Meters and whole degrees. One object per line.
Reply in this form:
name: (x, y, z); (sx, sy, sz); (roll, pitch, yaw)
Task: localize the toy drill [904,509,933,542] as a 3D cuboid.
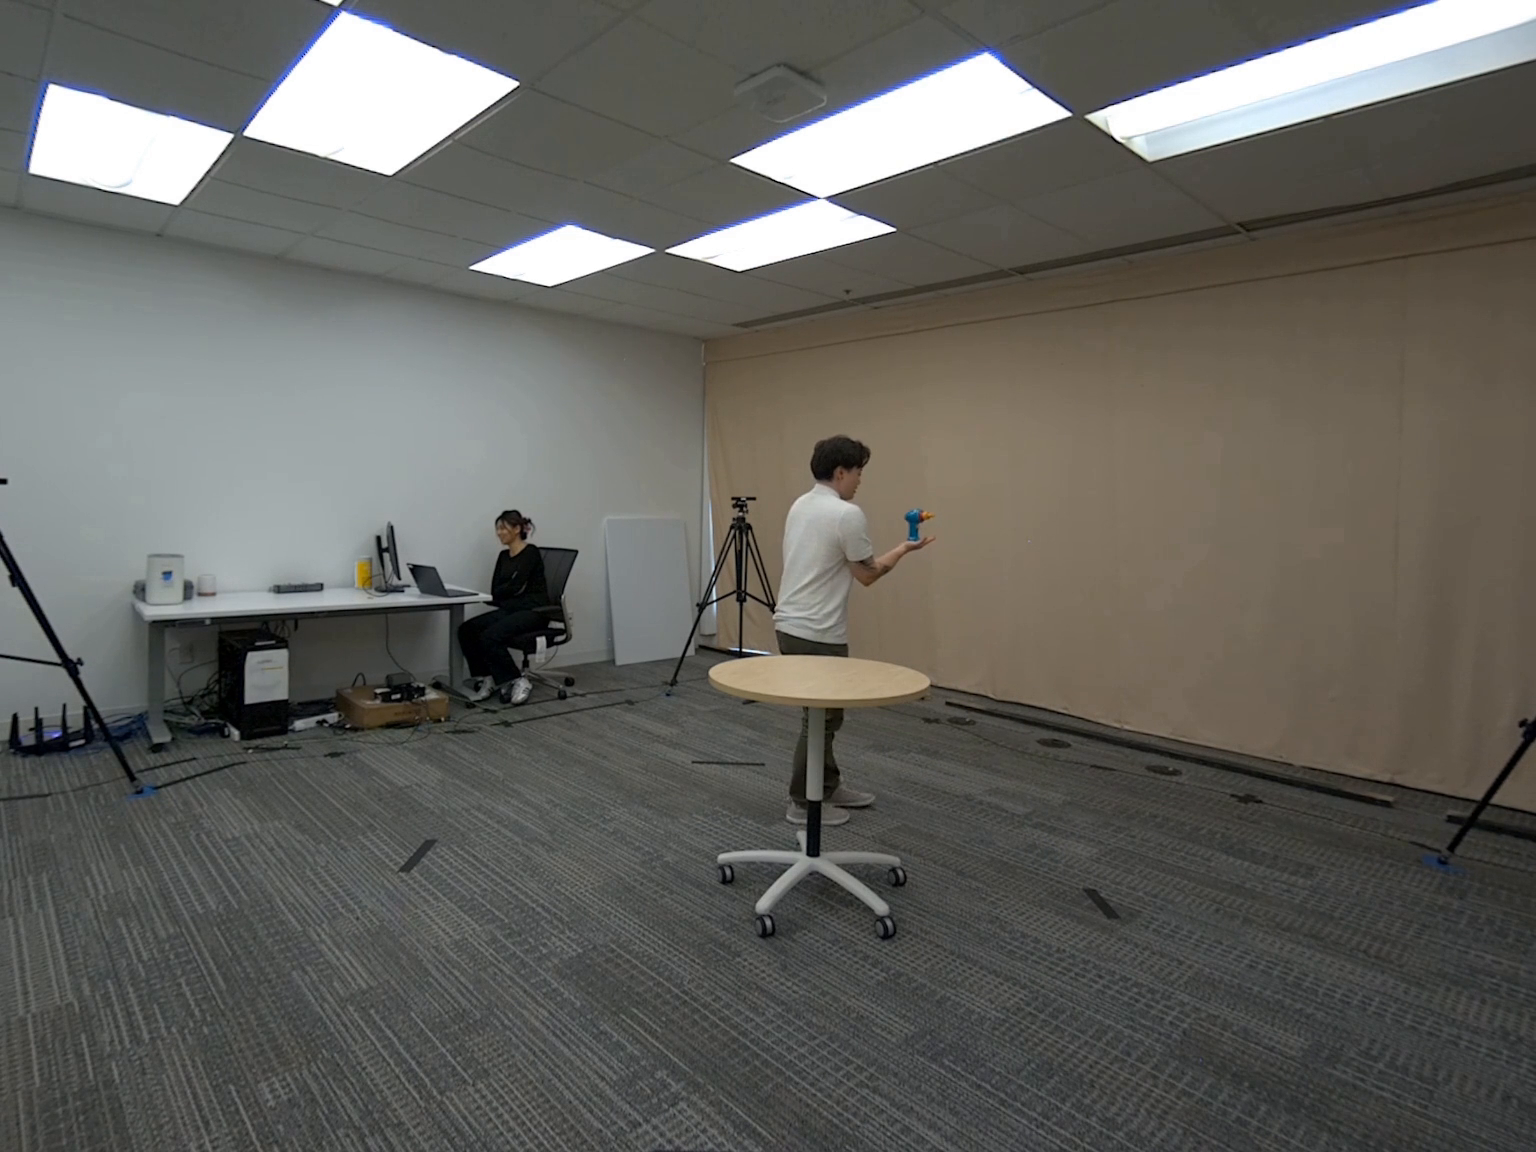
toy drill: (0.654, -0.222, 3.653); (0.173, 0.146, 0.060); (-4, 1, 44)
